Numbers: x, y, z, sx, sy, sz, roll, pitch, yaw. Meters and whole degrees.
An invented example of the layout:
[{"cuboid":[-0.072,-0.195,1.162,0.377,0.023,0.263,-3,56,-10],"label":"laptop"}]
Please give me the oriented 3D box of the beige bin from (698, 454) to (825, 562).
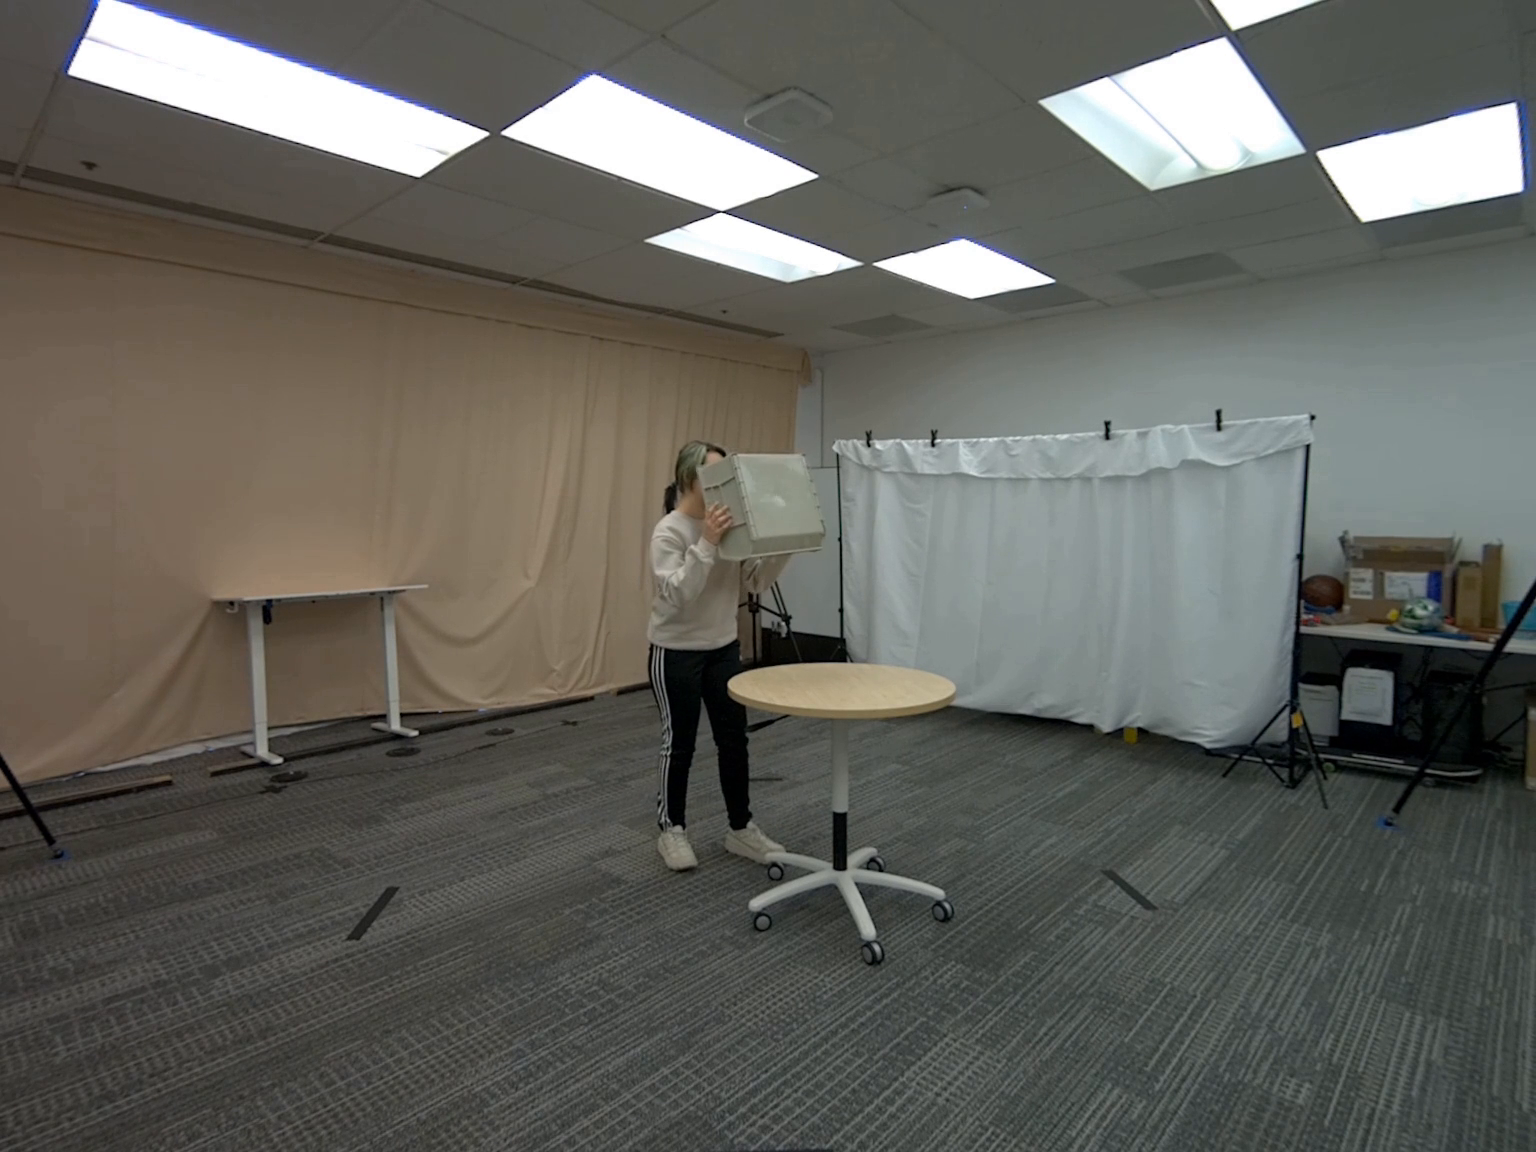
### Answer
[{"cuboid":[-0.008,-0.251,3.072,0.410,0.380,0.193,-7,-9,-44],"label":"beige bin"}]
